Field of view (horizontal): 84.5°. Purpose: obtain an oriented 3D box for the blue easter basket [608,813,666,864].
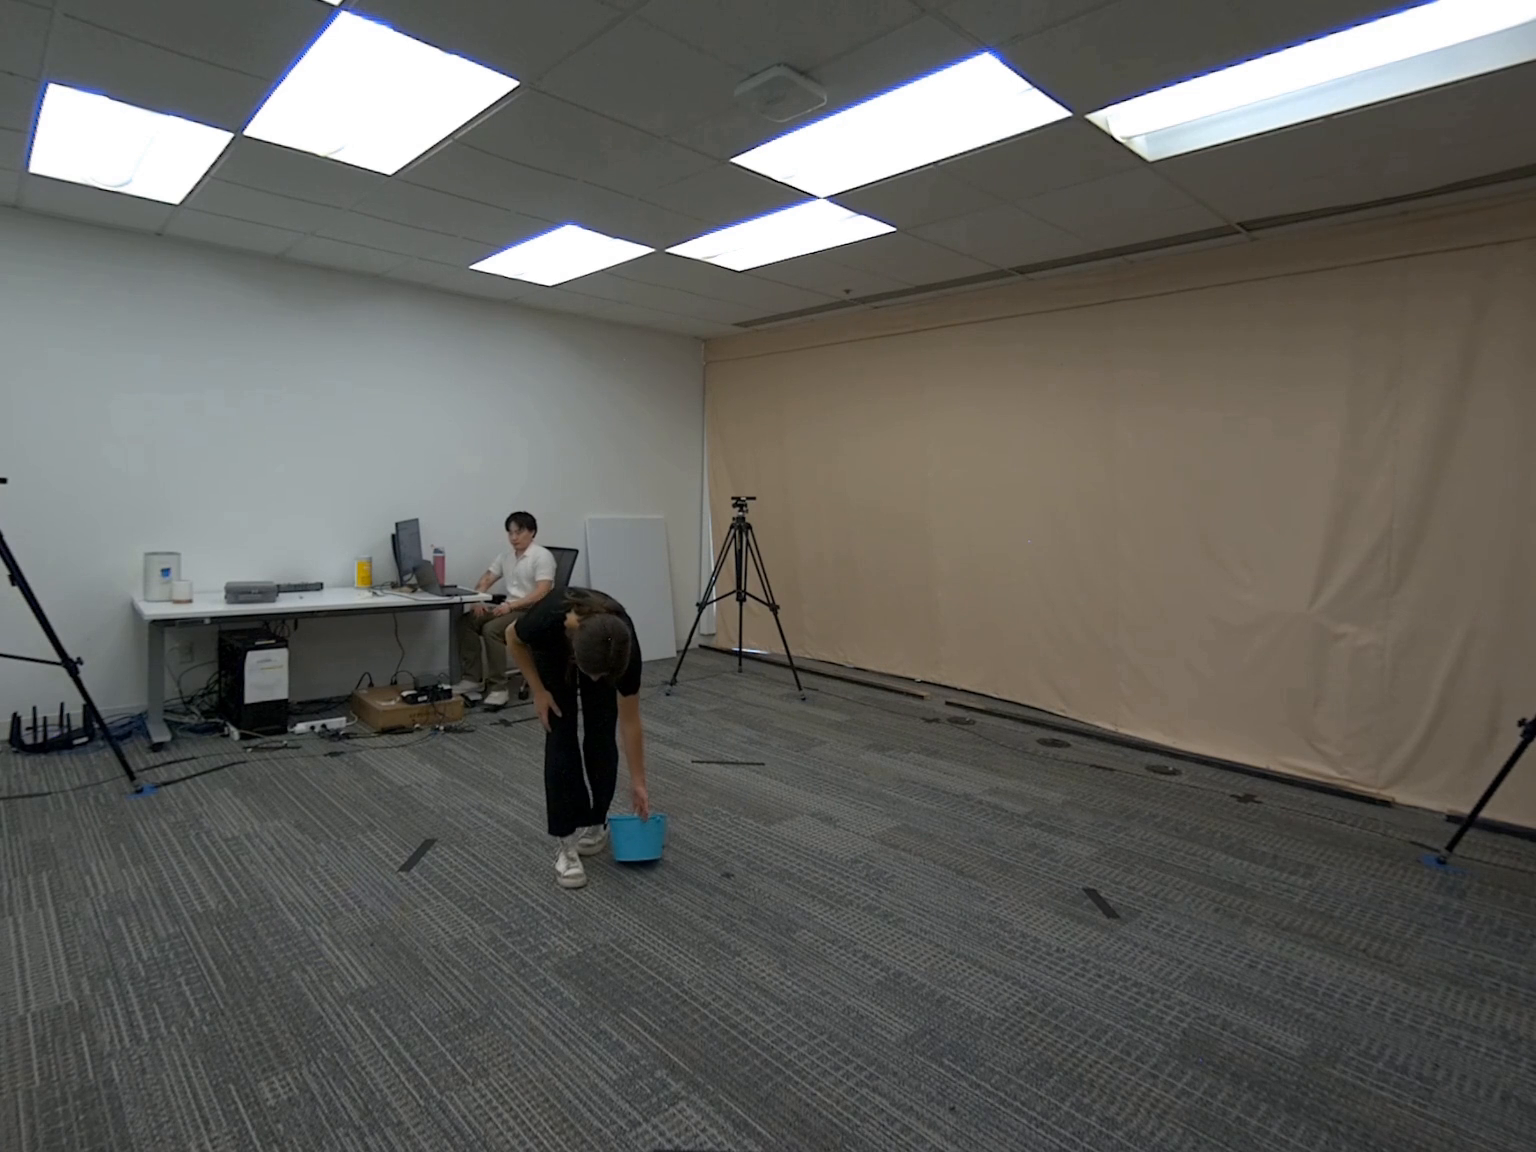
[{"bbox_3d":[-0.500,0.994,3.197,0.243,0.157,0.241,-2,-11,-2],"label":"blue easter basket"}]
